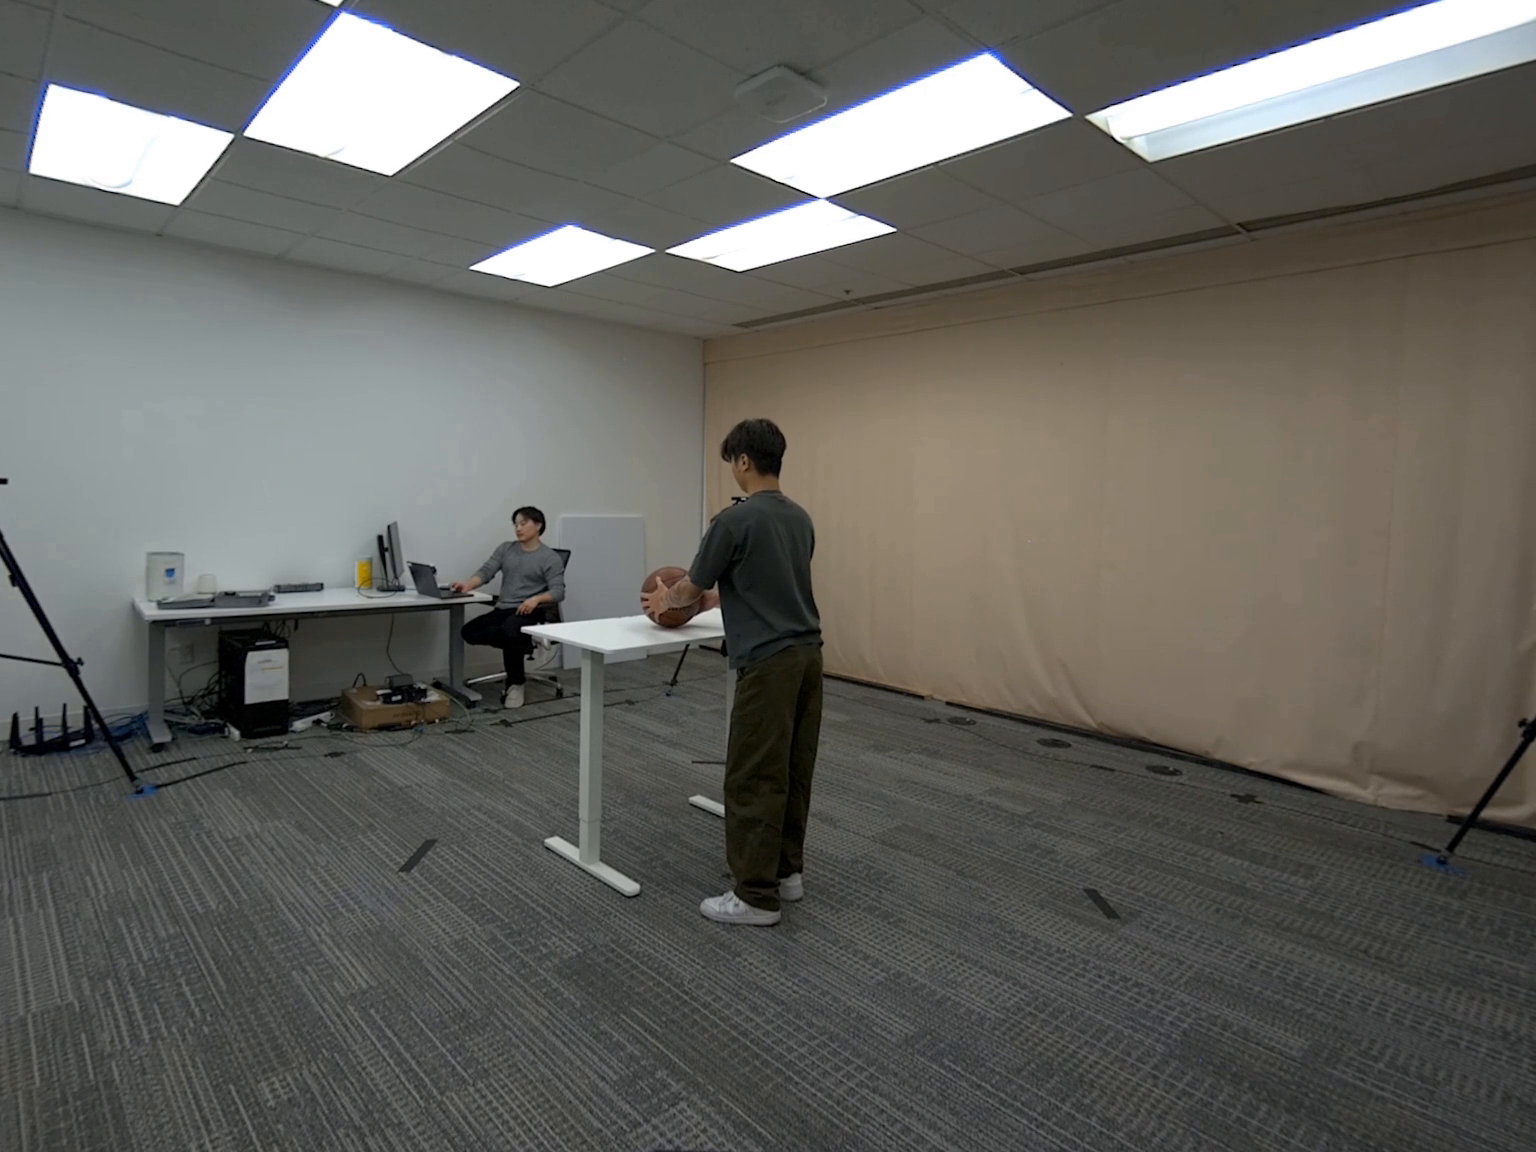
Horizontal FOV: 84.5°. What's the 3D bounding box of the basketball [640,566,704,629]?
[{"bbox_3d":[-0.384,0.084,3.305,0.236,0.235,0.237,1,4,-1],"label":"basketball"}]
